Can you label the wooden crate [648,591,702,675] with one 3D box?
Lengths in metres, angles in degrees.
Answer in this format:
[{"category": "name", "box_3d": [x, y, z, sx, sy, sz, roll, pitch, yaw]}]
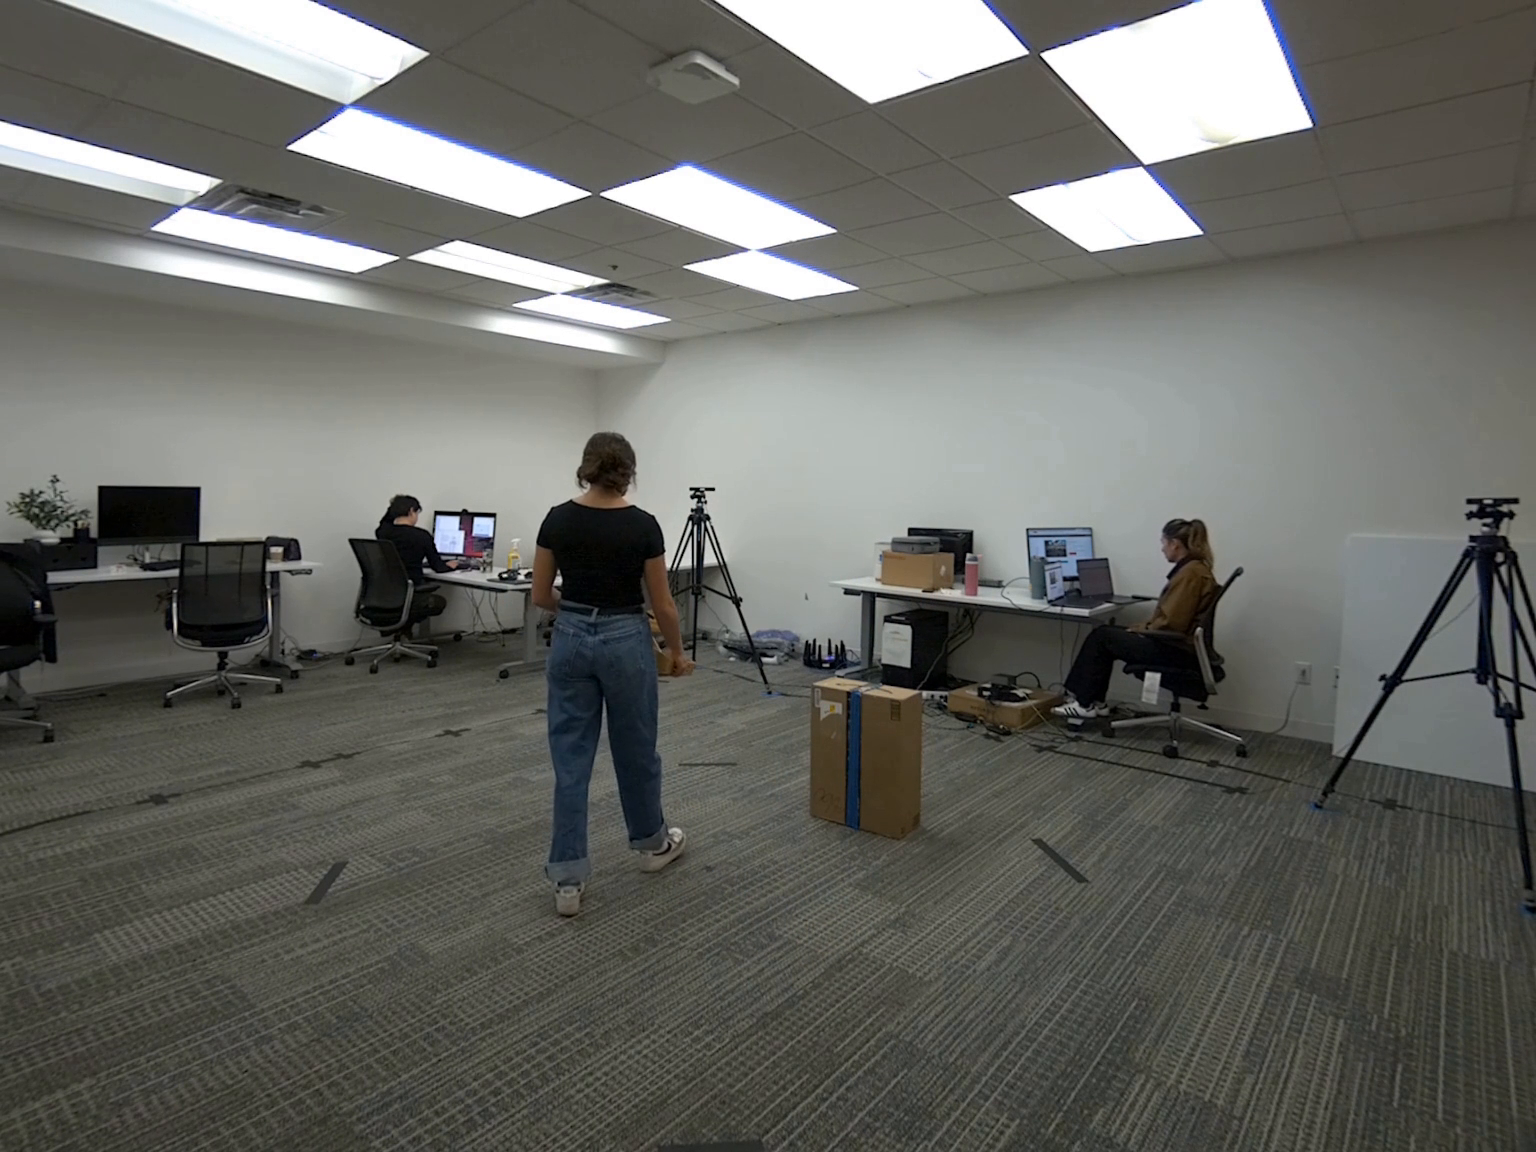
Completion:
[{"category": "wooden crate", "box_3d": [-0.460, 0.227, 3.198, 0.306, 0.277, 0.316, -8, -12, 14]}]
